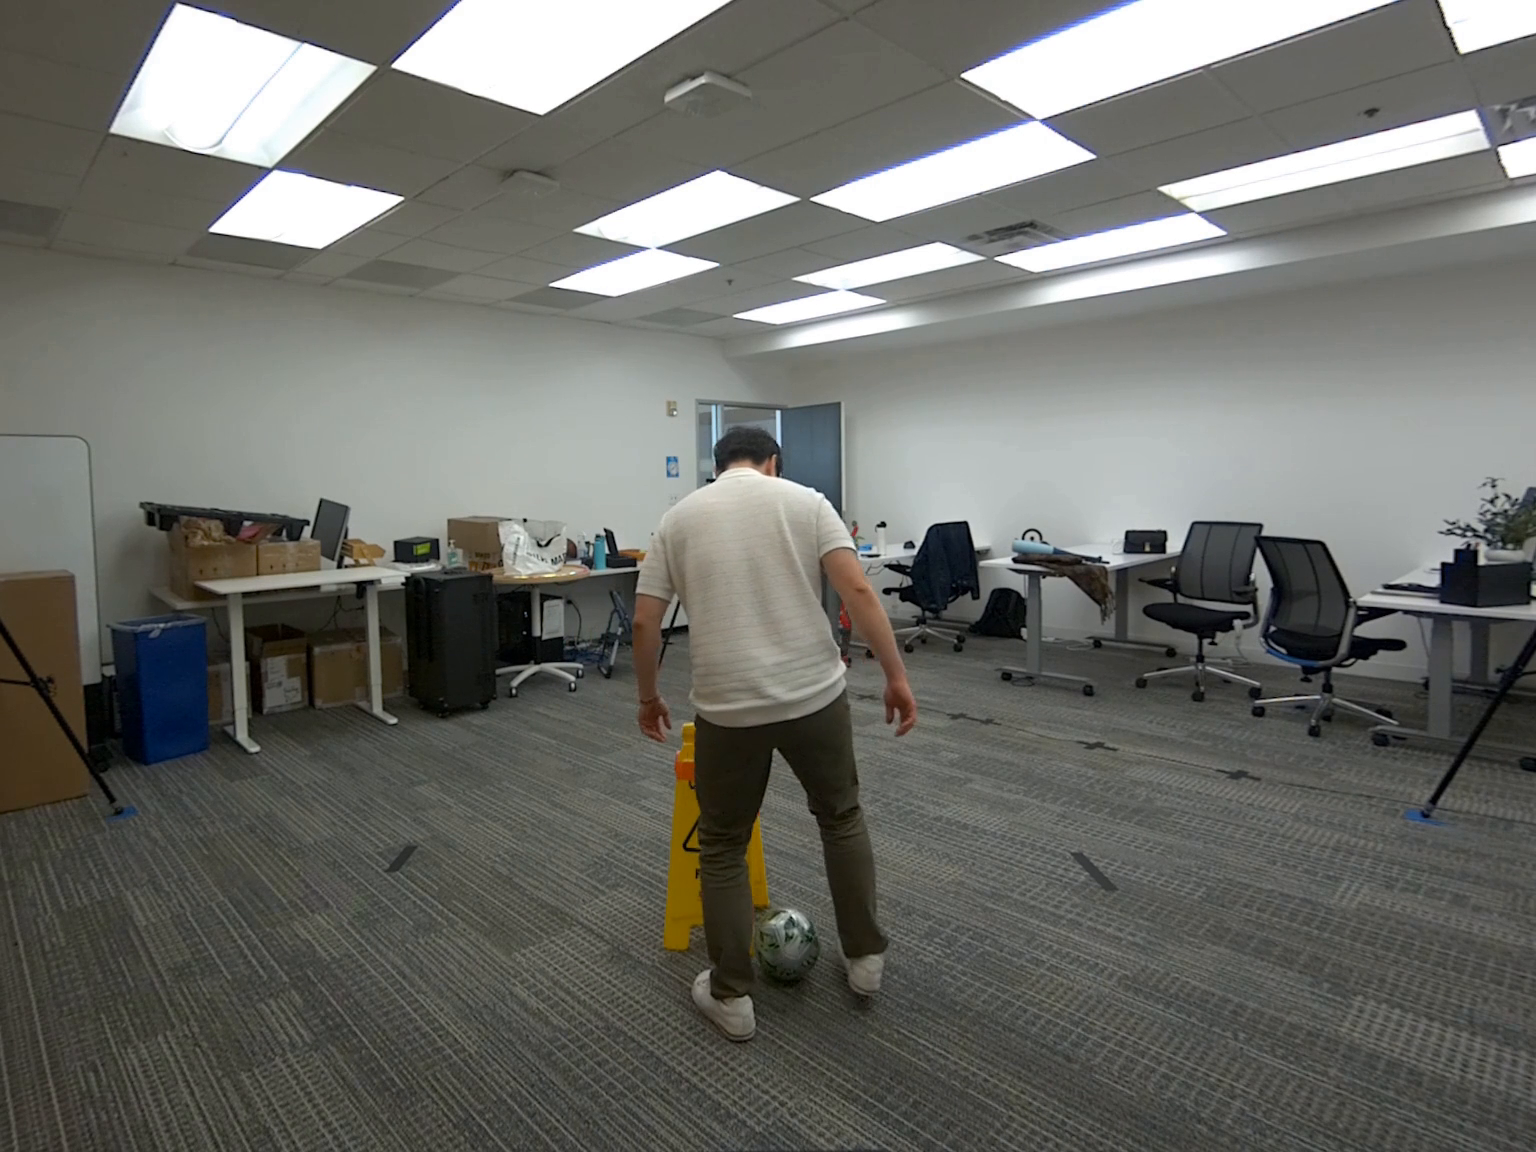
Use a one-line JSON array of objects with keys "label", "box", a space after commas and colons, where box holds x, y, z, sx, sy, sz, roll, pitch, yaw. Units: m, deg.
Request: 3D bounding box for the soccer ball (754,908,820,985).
[{"label": "soccer ball", "box": [0.058, 1.033, 2.398, 0.187, 0.187, 0.188, -1, 5, -2]}]
